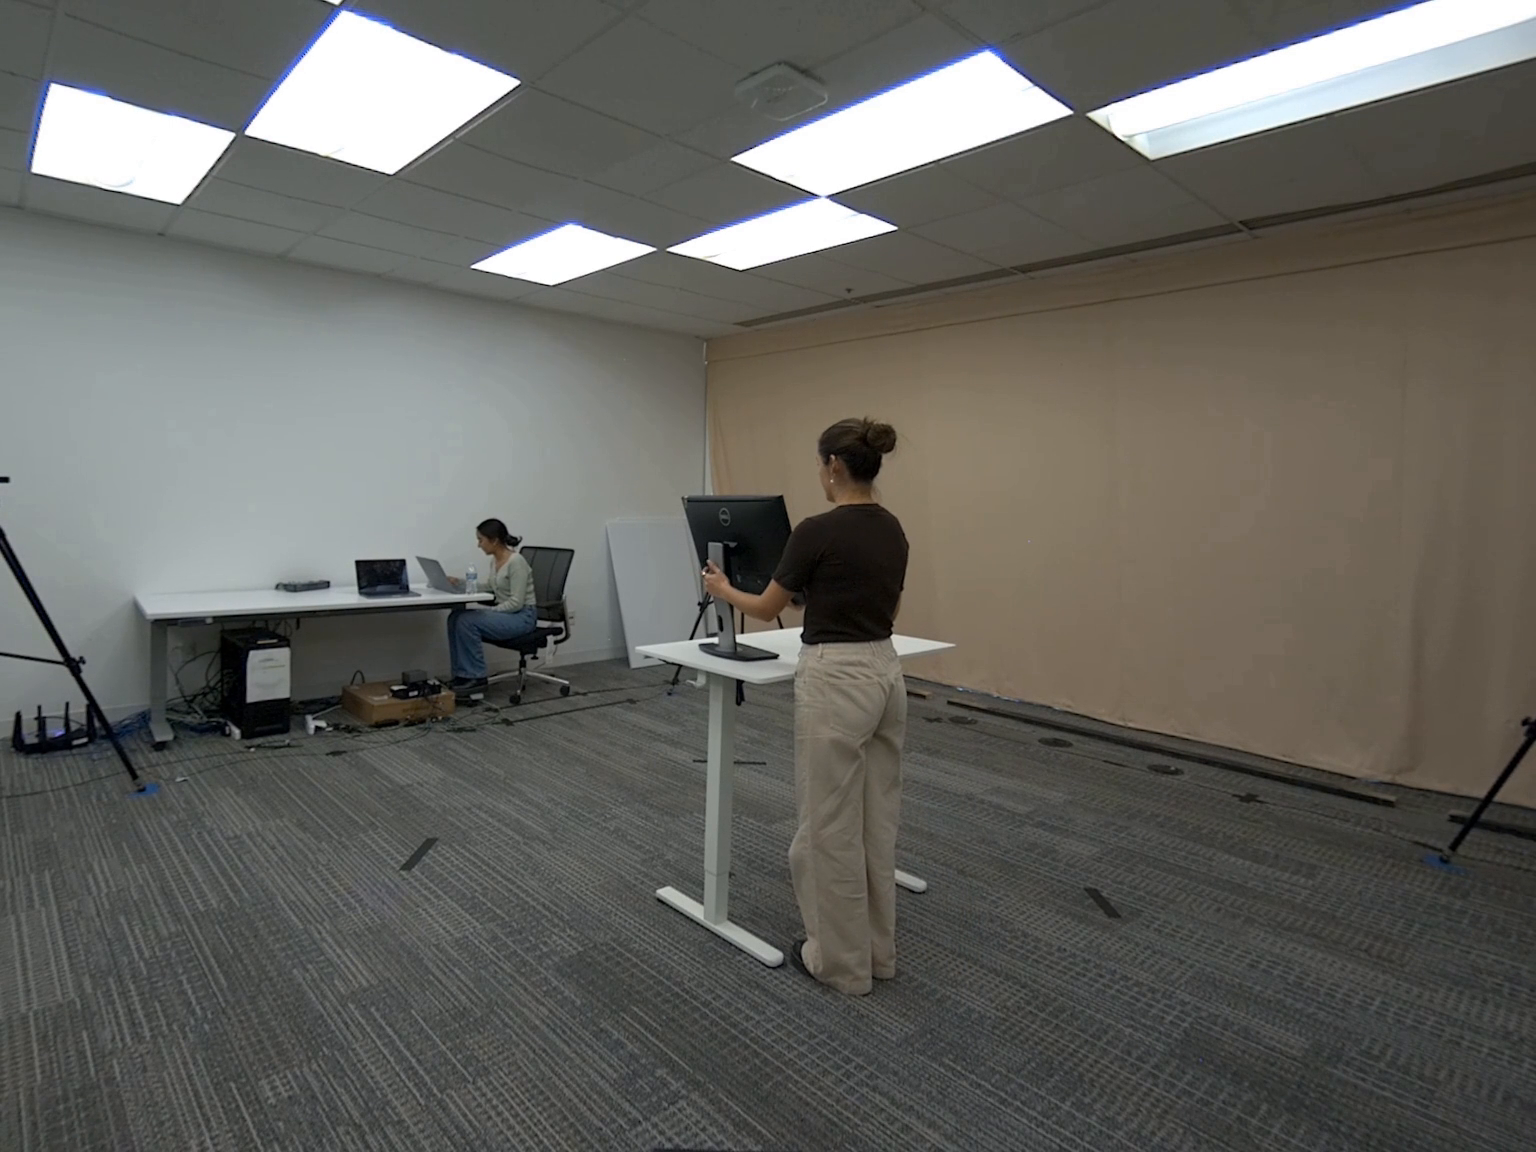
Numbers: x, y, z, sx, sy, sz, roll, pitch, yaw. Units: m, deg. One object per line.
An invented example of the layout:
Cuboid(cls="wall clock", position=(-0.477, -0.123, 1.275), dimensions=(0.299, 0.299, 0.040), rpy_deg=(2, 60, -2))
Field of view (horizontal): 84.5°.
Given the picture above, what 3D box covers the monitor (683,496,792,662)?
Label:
Cuboid(cls="monitor", position=(-0.119, 0.001, 2.717), dimensions=(0.183, 0.520, 0.552), rpy_deg=(-7, 7, -36))
